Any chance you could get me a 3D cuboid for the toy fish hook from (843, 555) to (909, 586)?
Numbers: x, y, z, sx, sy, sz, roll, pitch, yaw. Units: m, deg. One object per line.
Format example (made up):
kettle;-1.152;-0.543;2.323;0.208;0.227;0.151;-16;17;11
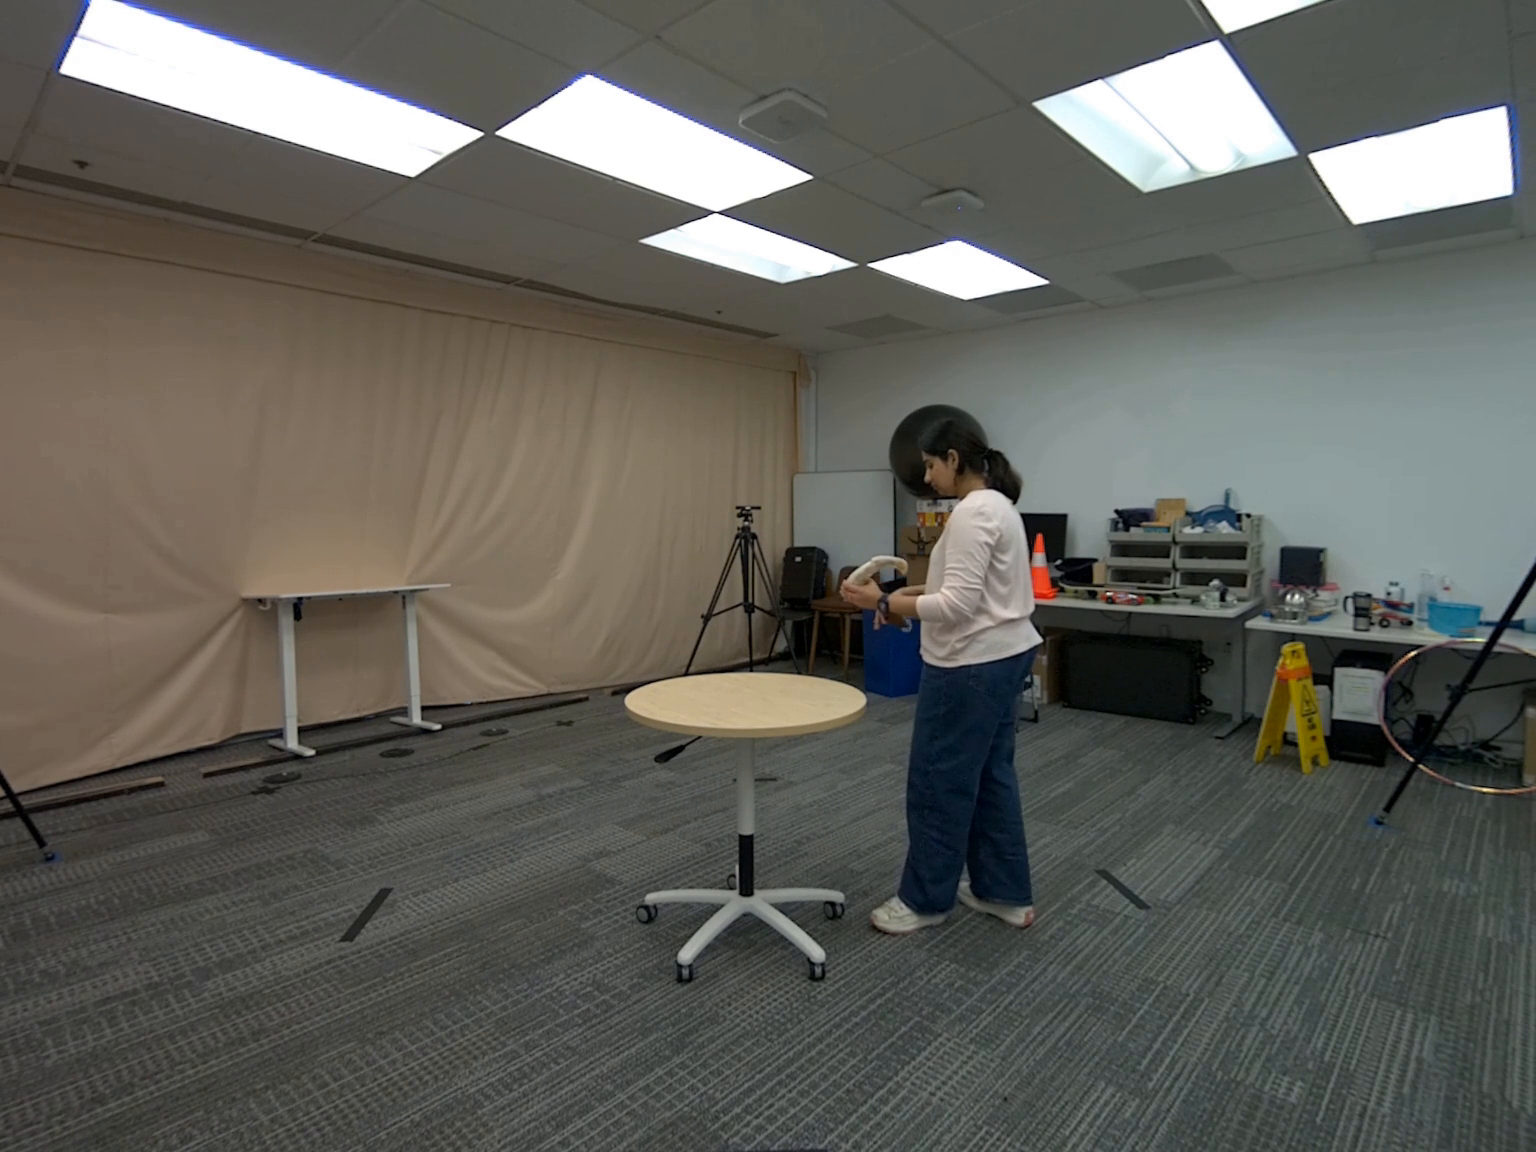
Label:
toy fish hook;0.435;0.069;2.924;0.226;0.049;0.489;-32;-35;14
